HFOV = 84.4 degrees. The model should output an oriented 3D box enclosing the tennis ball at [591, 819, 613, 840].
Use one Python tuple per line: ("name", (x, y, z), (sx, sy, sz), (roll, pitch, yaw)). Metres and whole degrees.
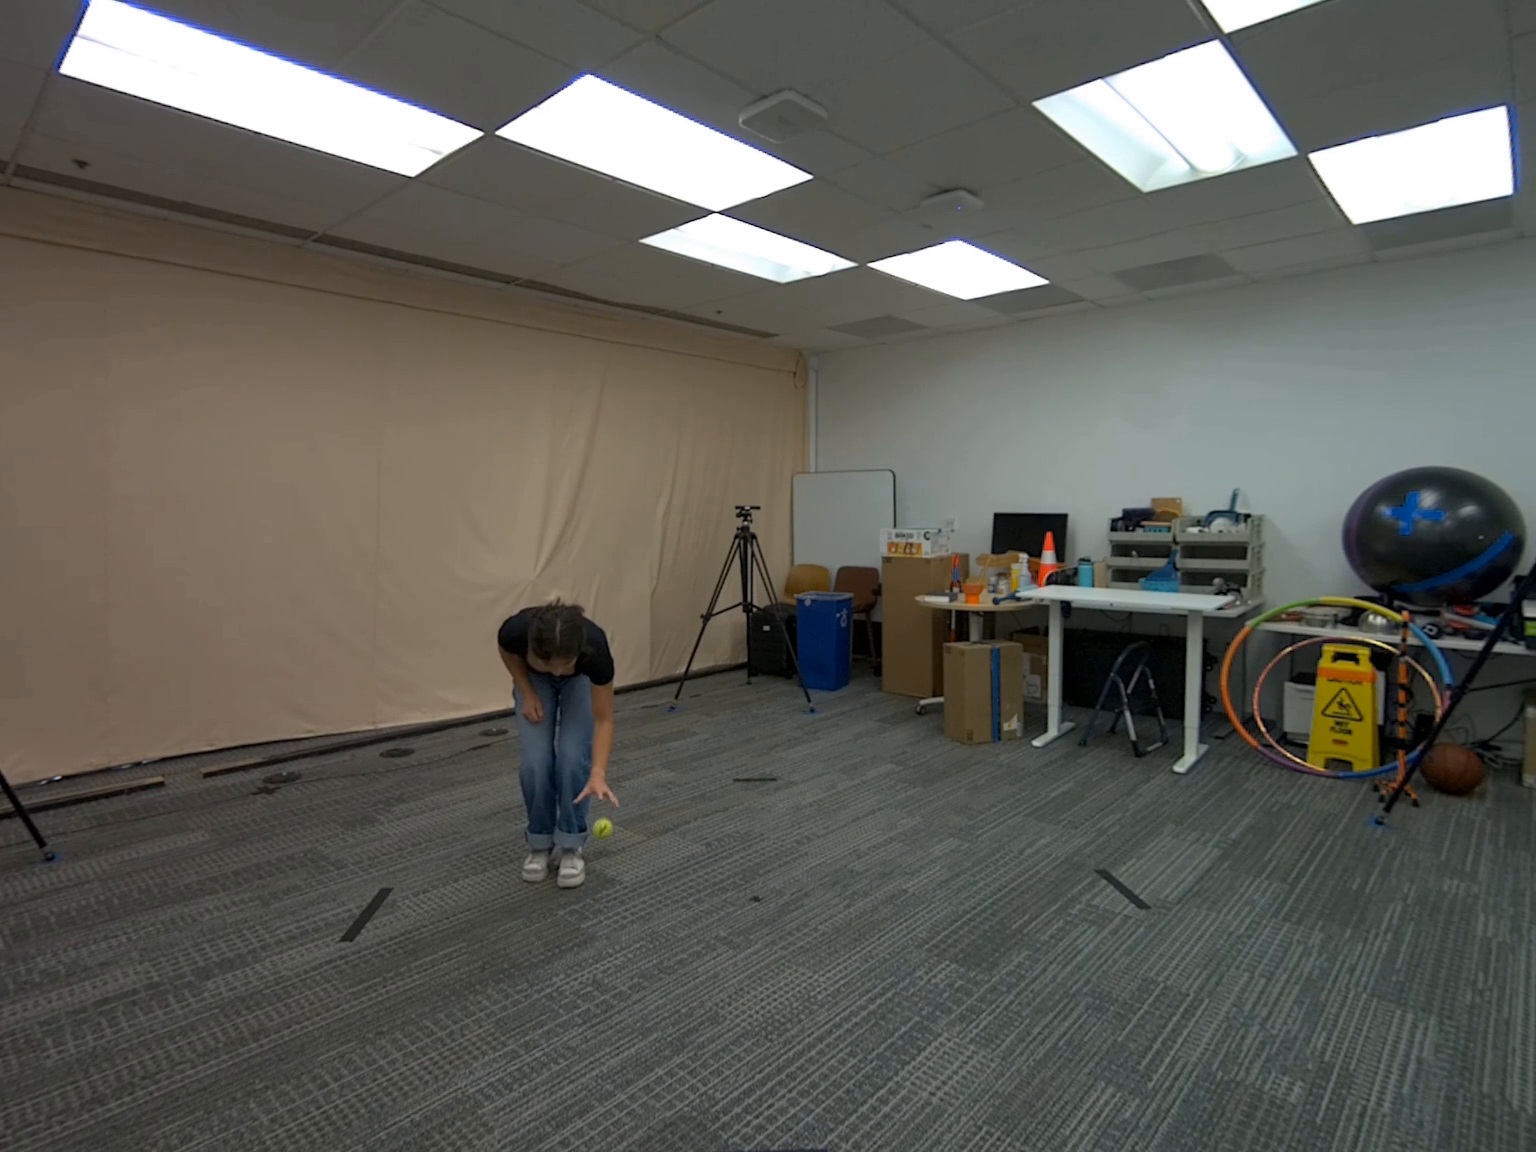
("tennis ball", (-0.561, 0.880, 2.811), (0.066, 0.066, 0.067), (0, 4, -2))
